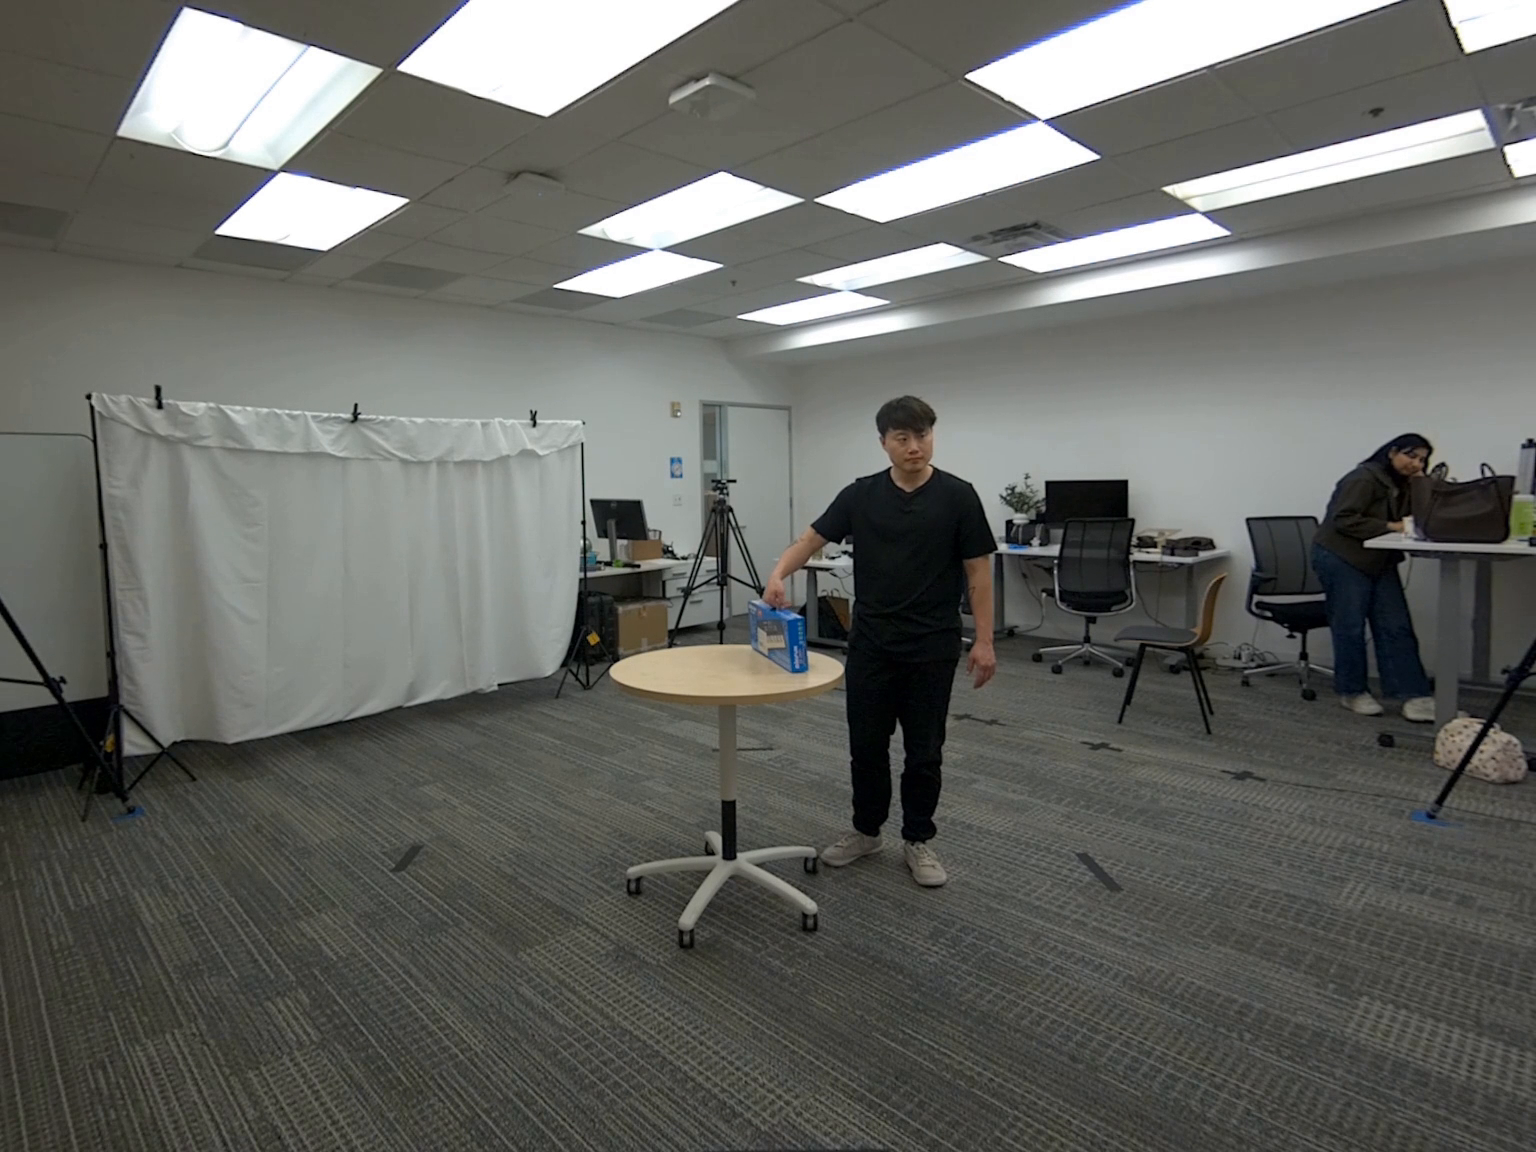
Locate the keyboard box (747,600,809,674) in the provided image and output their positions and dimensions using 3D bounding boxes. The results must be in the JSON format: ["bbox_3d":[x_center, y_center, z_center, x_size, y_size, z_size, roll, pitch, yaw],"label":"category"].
[{"bbox_3d":[0.031,0.196,2.907,0.058,0.175,0.445,-5,7,-17],"label":"keyboard box"}]
